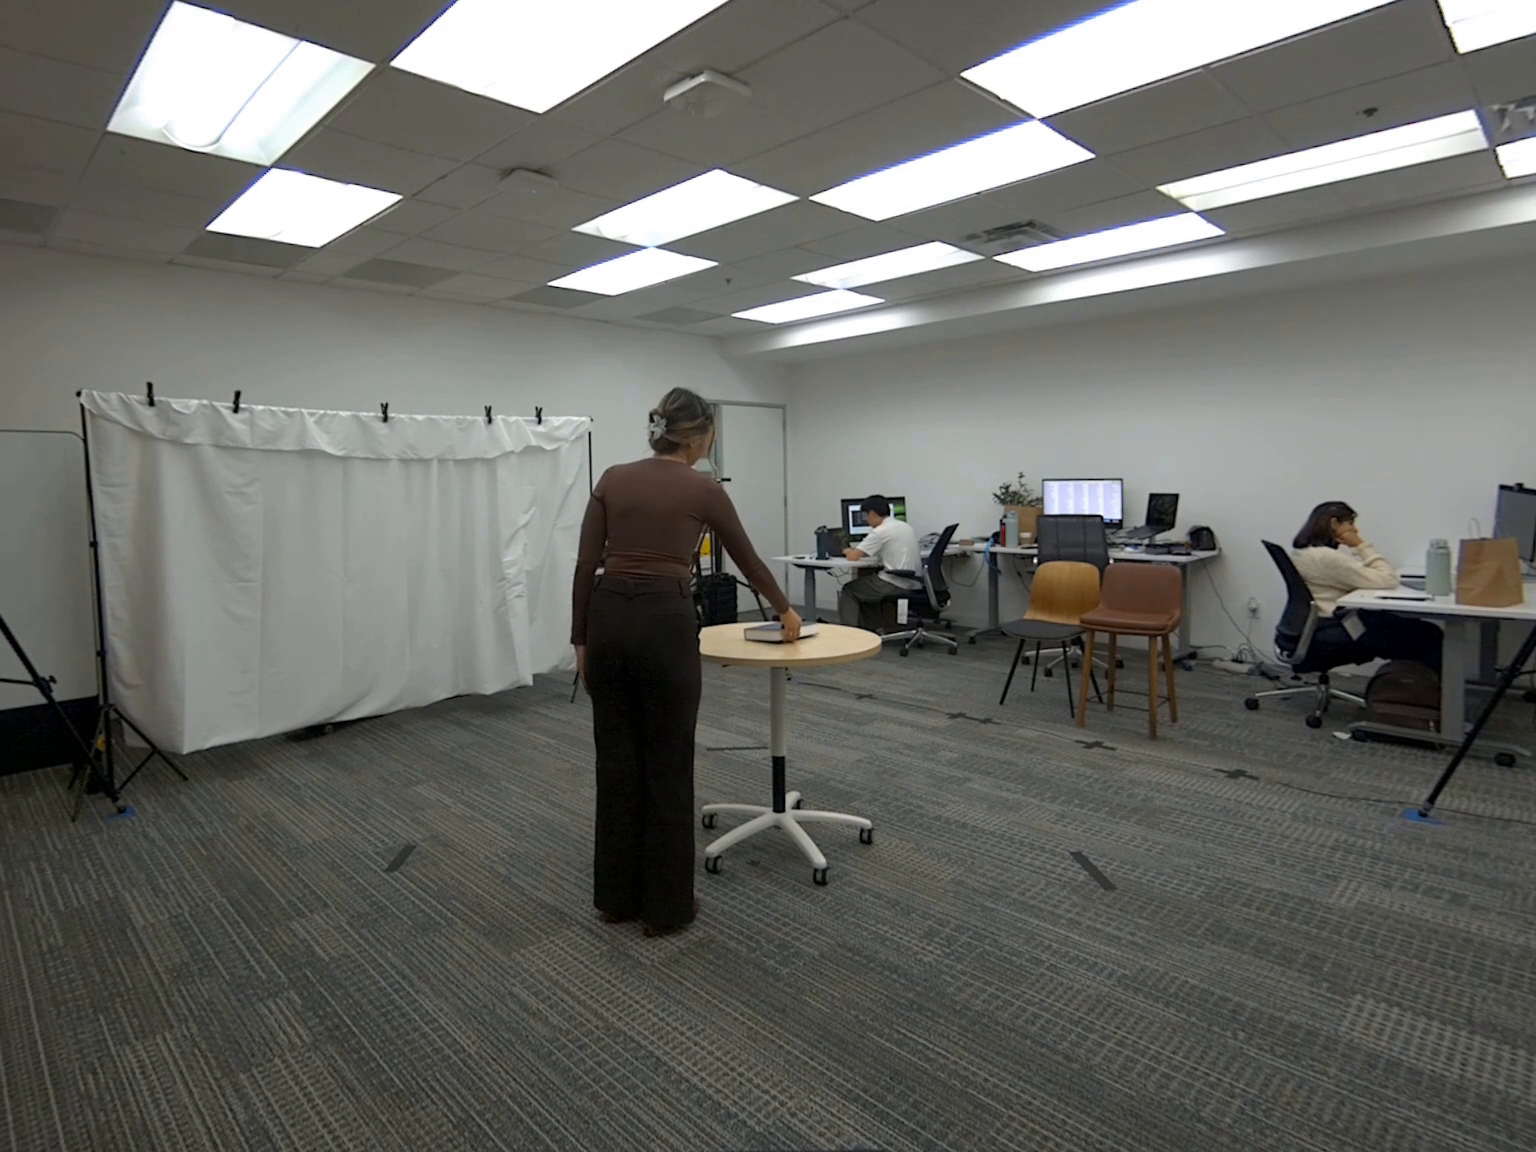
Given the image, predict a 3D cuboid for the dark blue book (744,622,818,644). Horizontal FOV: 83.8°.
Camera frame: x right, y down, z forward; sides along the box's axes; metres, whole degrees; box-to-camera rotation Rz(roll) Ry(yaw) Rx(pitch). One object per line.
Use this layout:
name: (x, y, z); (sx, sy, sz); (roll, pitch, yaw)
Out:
dark blue book: (0.054, 0.209, 3.204); (0.168, 0.045, 0.238); (1, 5, 41)
